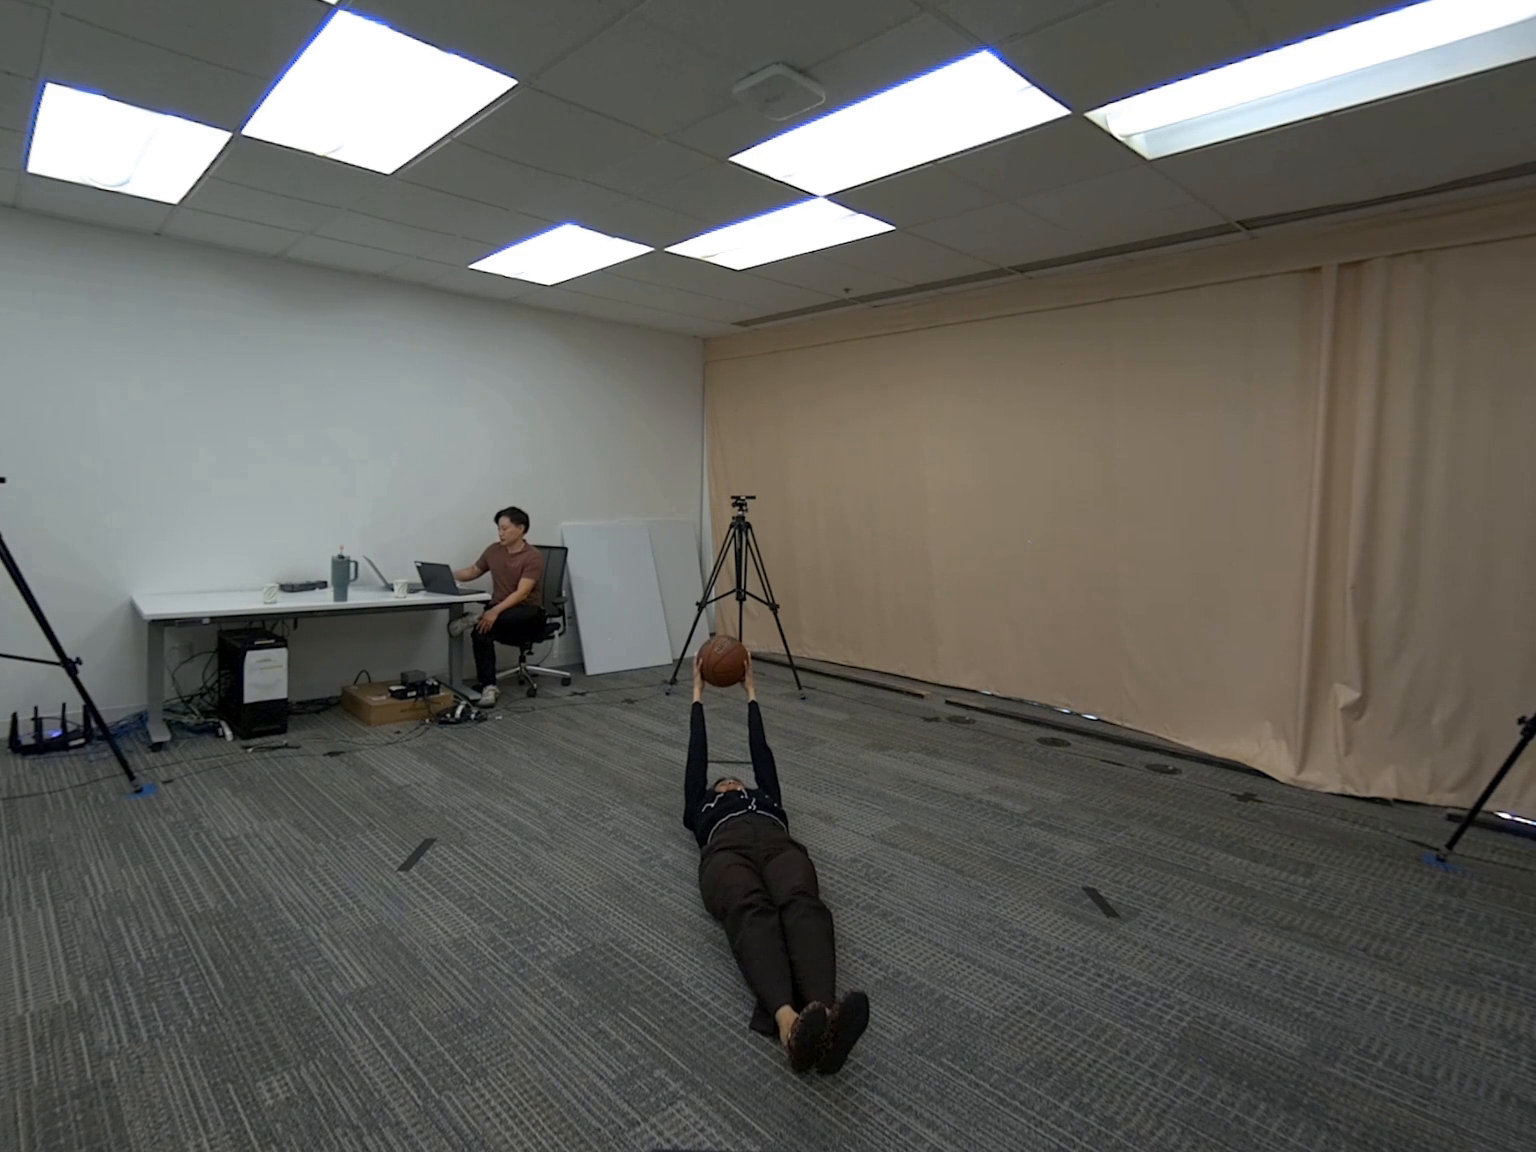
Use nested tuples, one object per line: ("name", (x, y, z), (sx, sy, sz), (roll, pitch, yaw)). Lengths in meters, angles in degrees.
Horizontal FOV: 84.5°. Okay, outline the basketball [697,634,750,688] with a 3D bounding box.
("basketball", (-0.215, 0.386, 3.814), (0.236, 0.235, 0.237), (1, 4, -1))
